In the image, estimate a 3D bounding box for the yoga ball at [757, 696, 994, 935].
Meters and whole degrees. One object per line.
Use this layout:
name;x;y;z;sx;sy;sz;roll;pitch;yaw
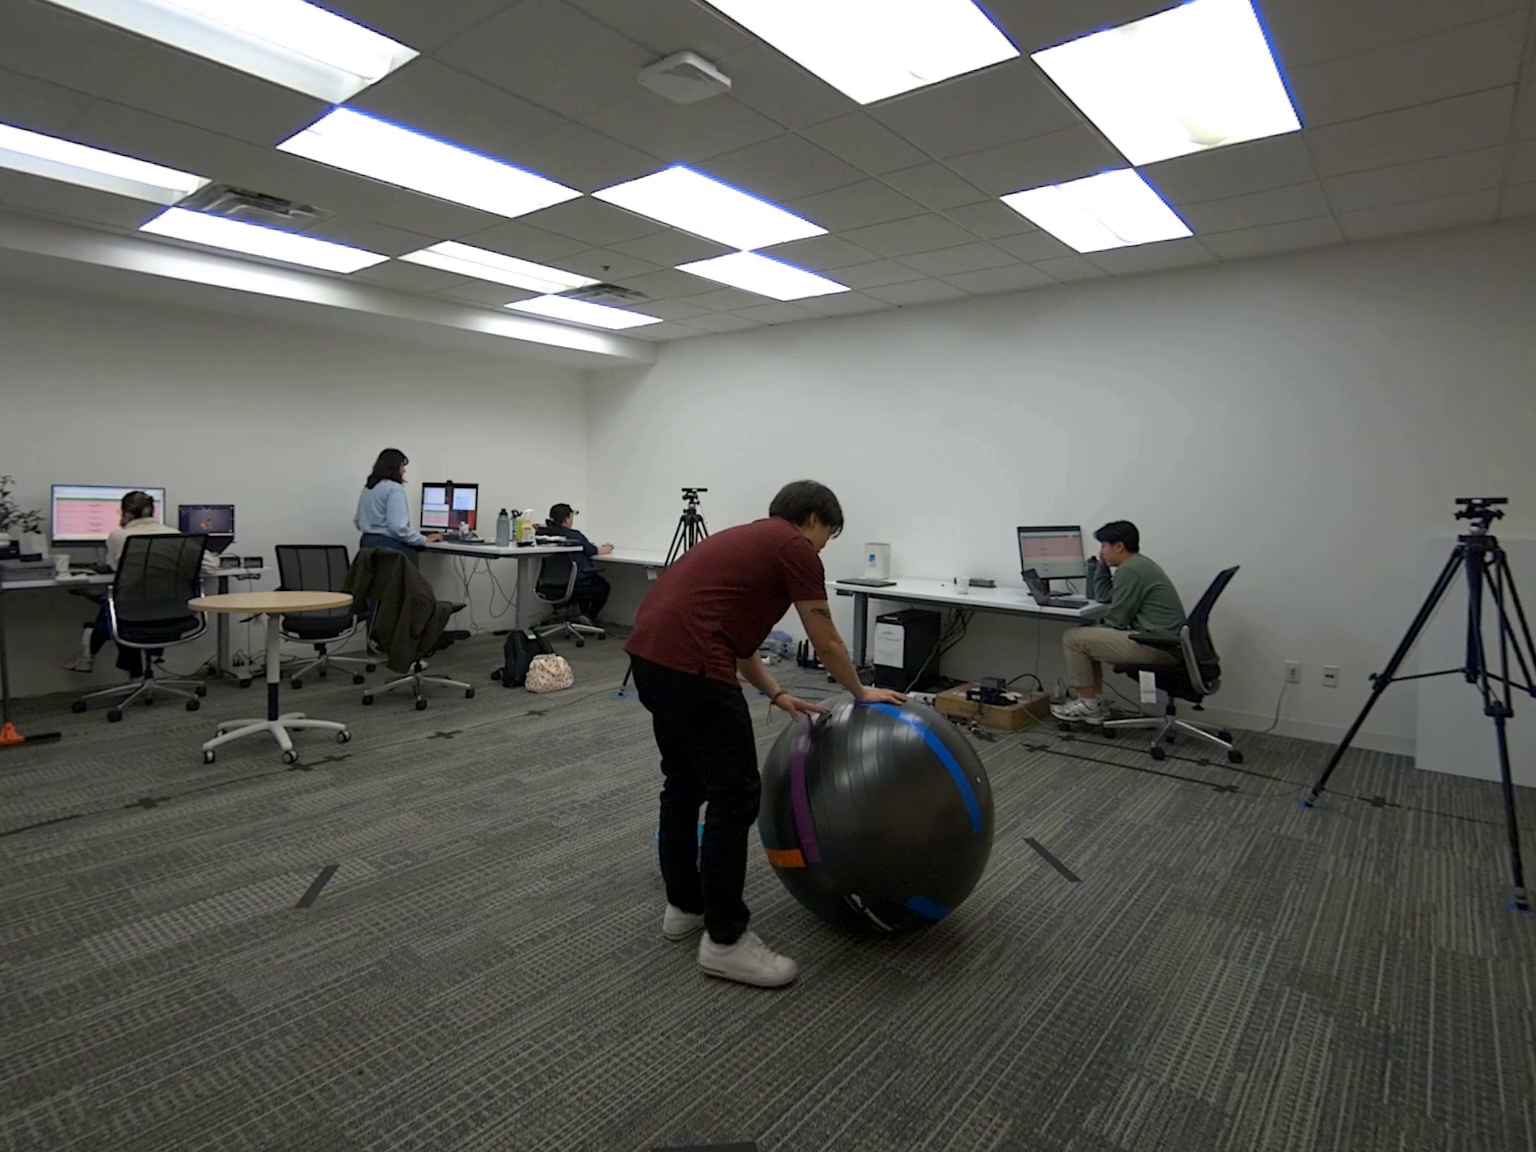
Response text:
yoga ball;0.342;0.760;2.768;0.757;0.755;0.762;1;4;-2
